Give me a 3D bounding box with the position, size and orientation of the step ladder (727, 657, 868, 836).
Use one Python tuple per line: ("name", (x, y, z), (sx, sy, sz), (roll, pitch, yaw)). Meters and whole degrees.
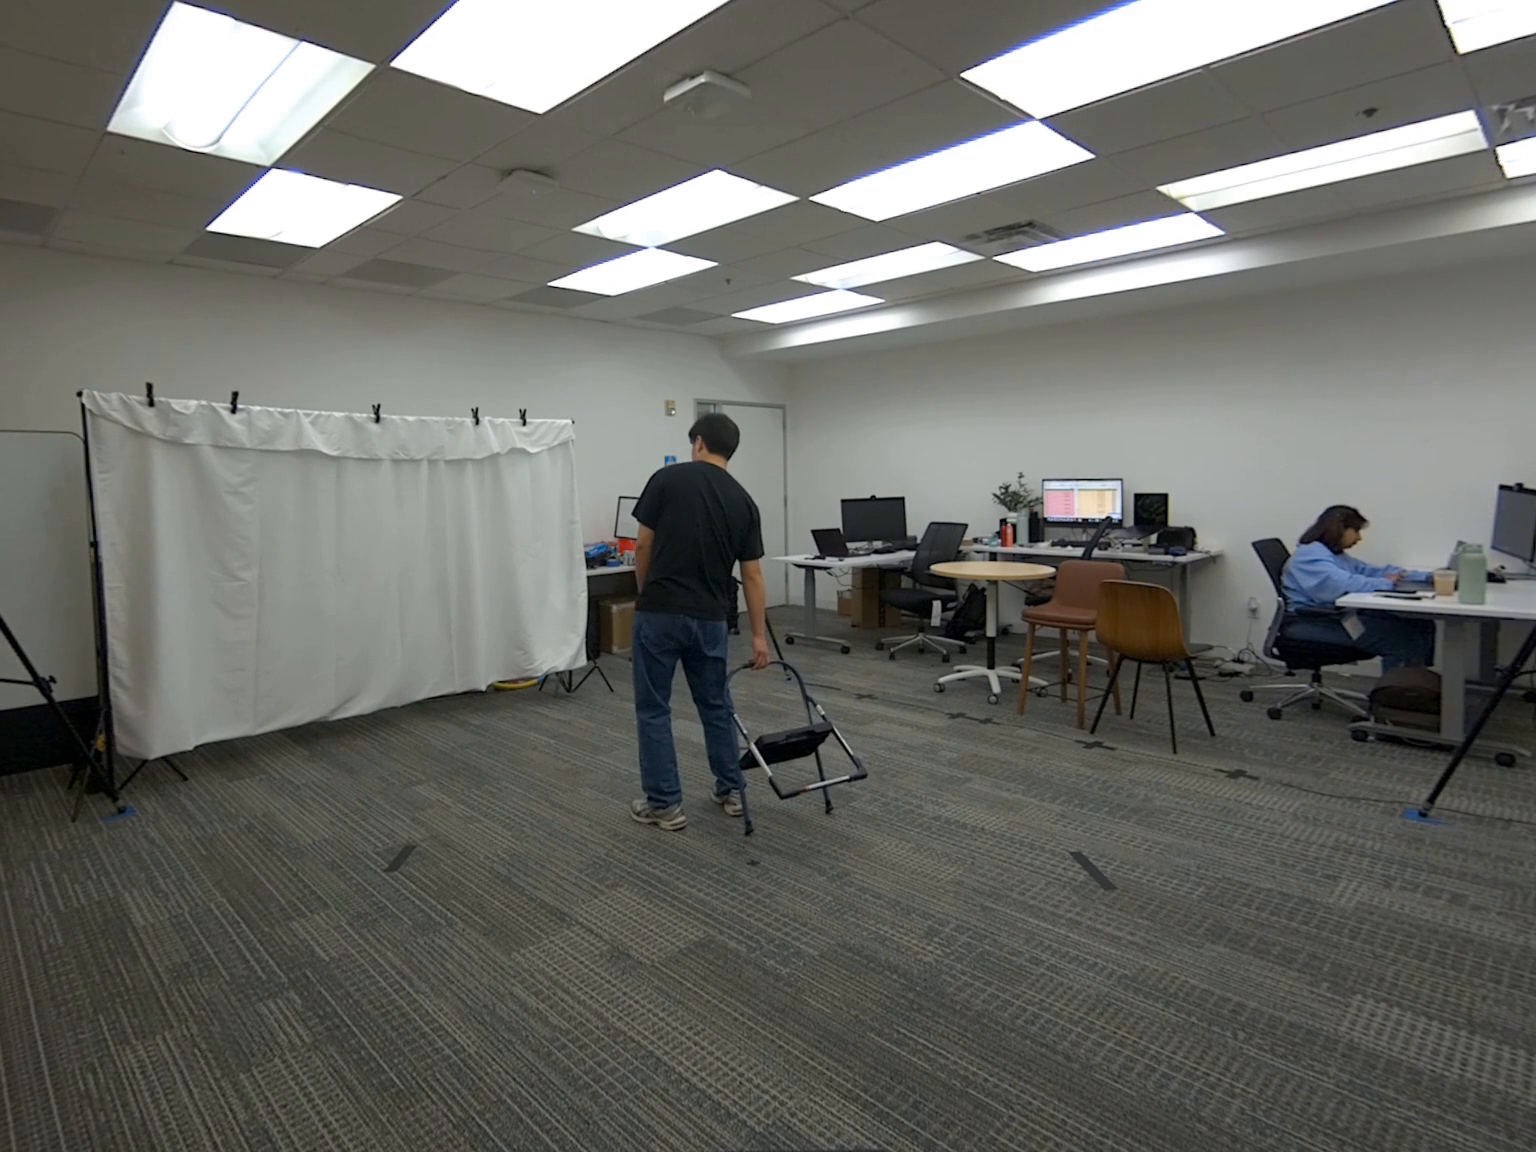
("step ladder", (0.043, 0.650, 3.488), (0.420, 0.626, 0.346), (-4, -36, -33))
